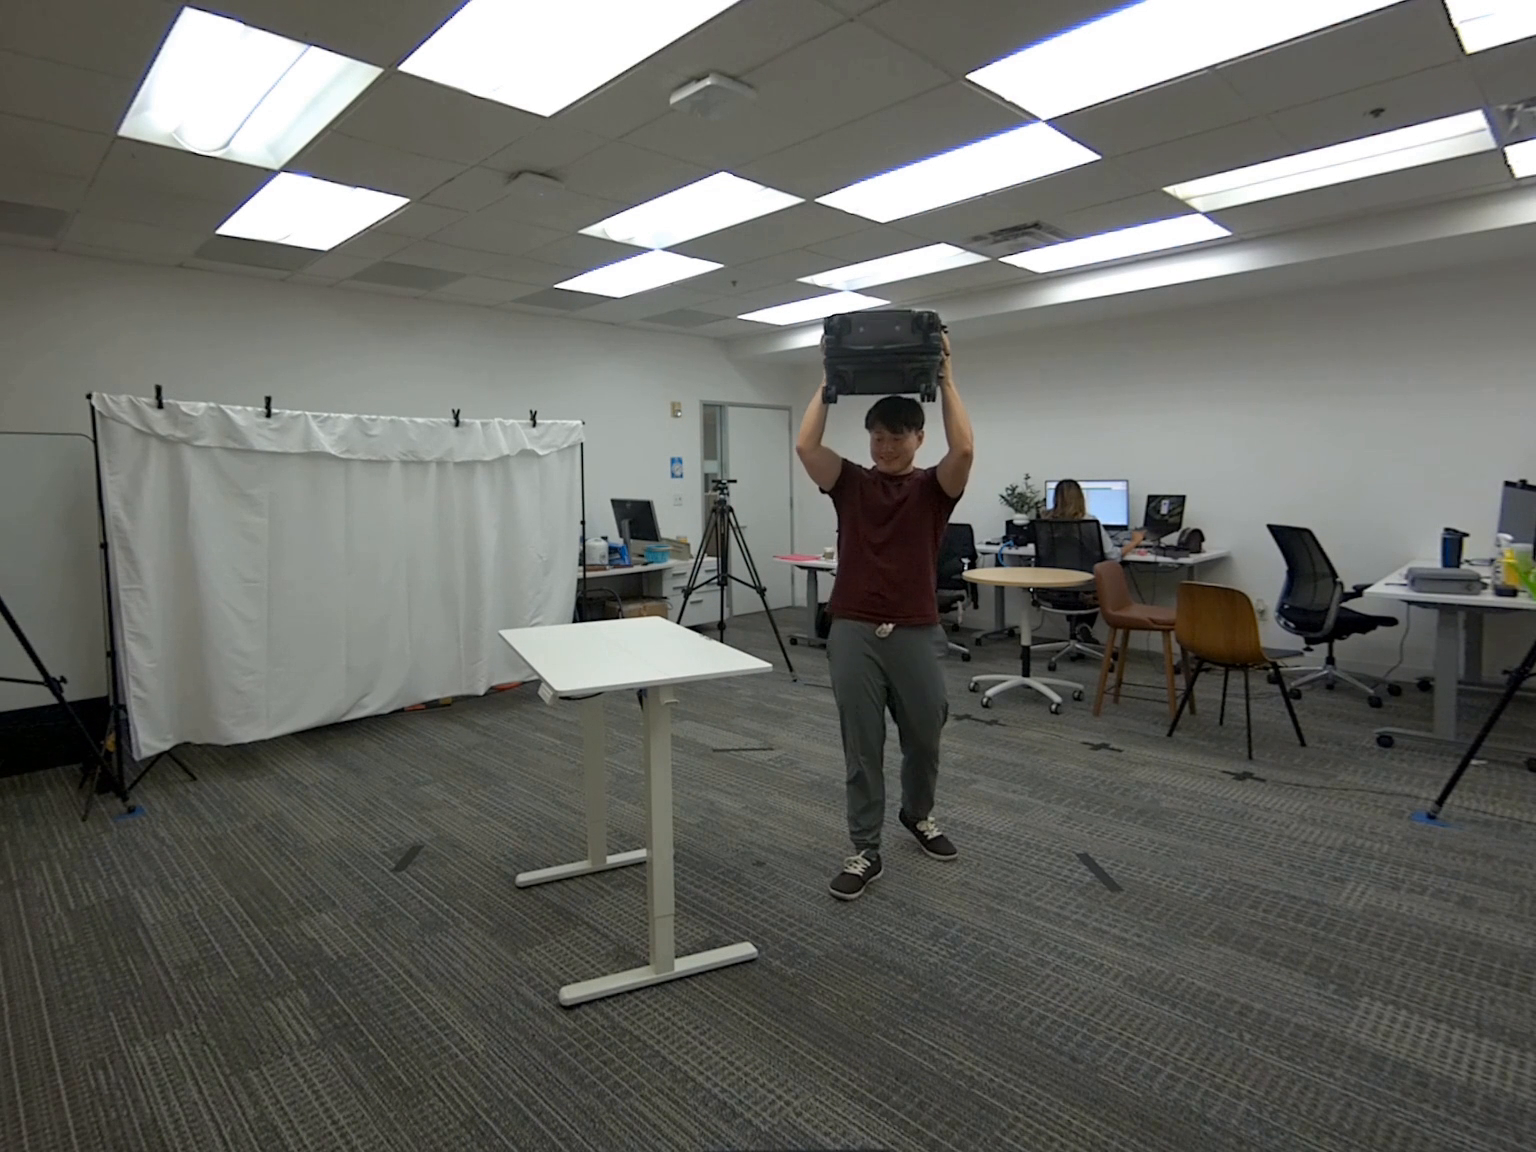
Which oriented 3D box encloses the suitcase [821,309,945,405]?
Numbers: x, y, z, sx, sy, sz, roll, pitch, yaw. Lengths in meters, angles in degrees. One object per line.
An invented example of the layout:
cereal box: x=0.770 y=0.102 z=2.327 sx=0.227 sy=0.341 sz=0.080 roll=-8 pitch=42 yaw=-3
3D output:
suitcase: x=0.430 y=-0.762 z=2.963 sx=0.389 sy=0.254 sz=0.975 roll=3 pitch=13 yaw=12
